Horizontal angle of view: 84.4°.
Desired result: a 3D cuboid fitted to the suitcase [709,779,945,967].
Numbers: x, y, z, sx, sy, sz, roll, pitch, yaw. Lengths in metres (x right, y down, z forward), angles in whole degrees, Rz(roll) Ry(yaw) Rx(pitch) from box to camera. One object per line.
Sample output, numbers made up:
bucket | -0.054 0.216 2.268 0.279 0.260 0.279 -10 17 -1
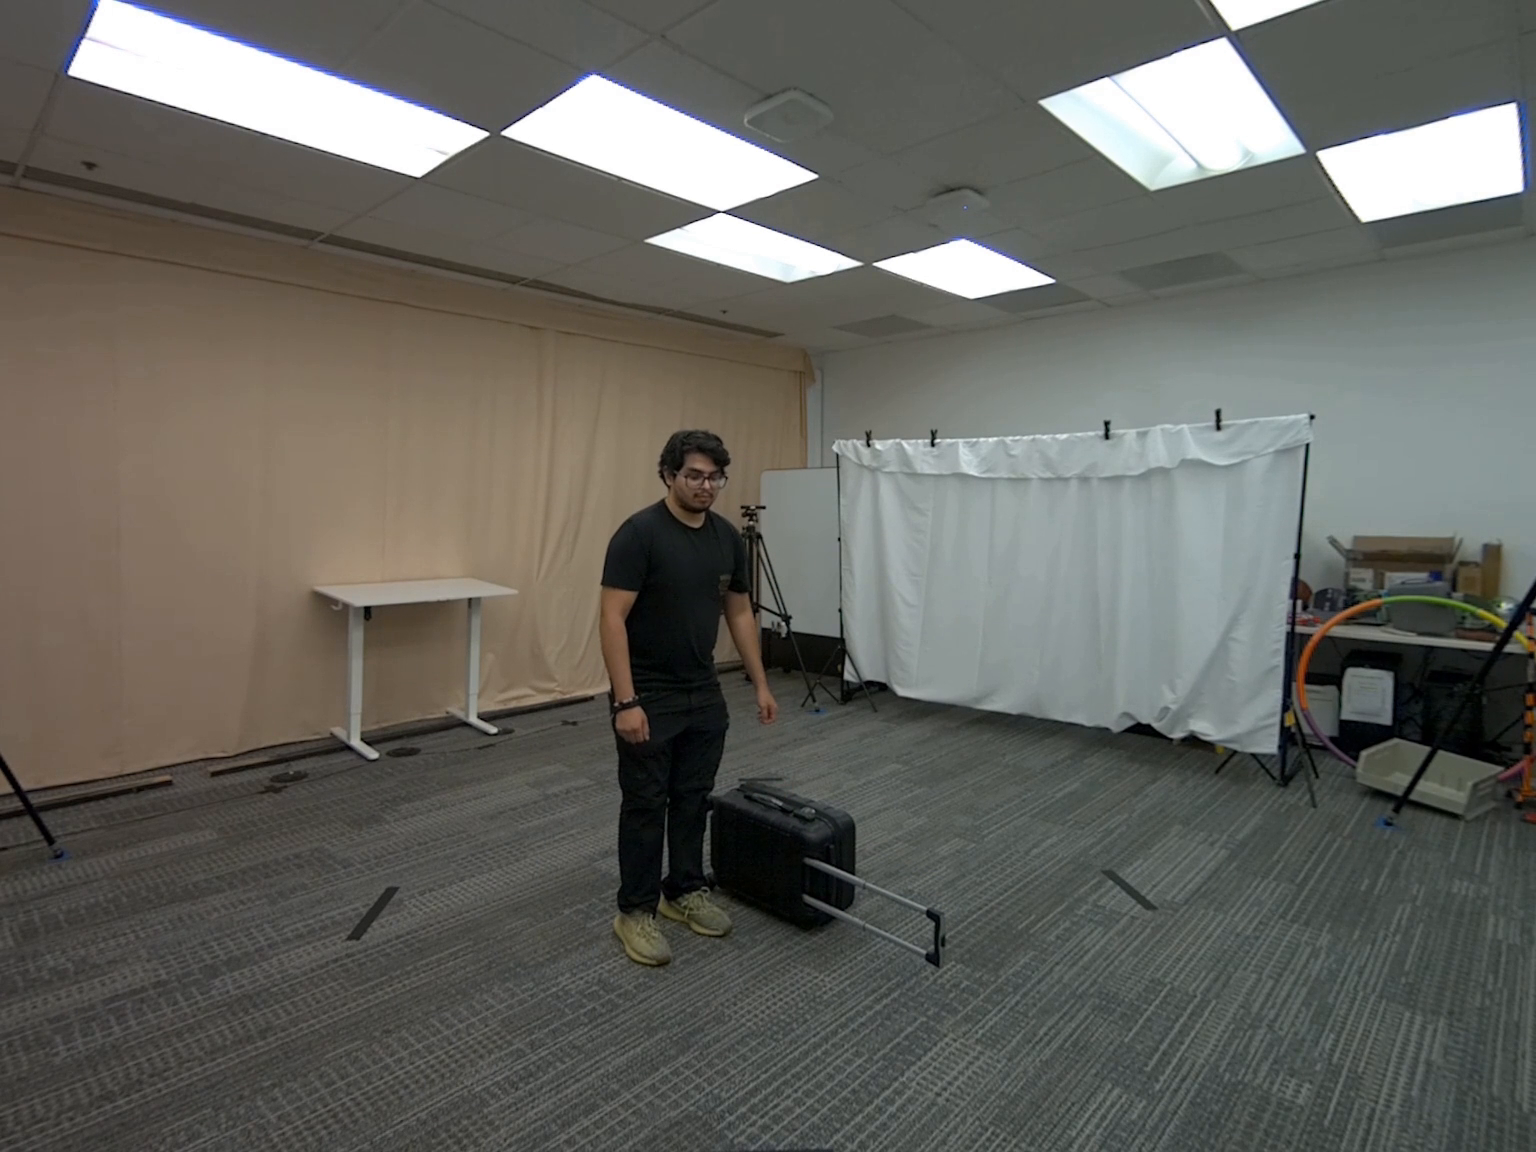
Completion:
suitcase | 0.201 0.971 2.798 1.012 0.383 0.249 5 6 43
